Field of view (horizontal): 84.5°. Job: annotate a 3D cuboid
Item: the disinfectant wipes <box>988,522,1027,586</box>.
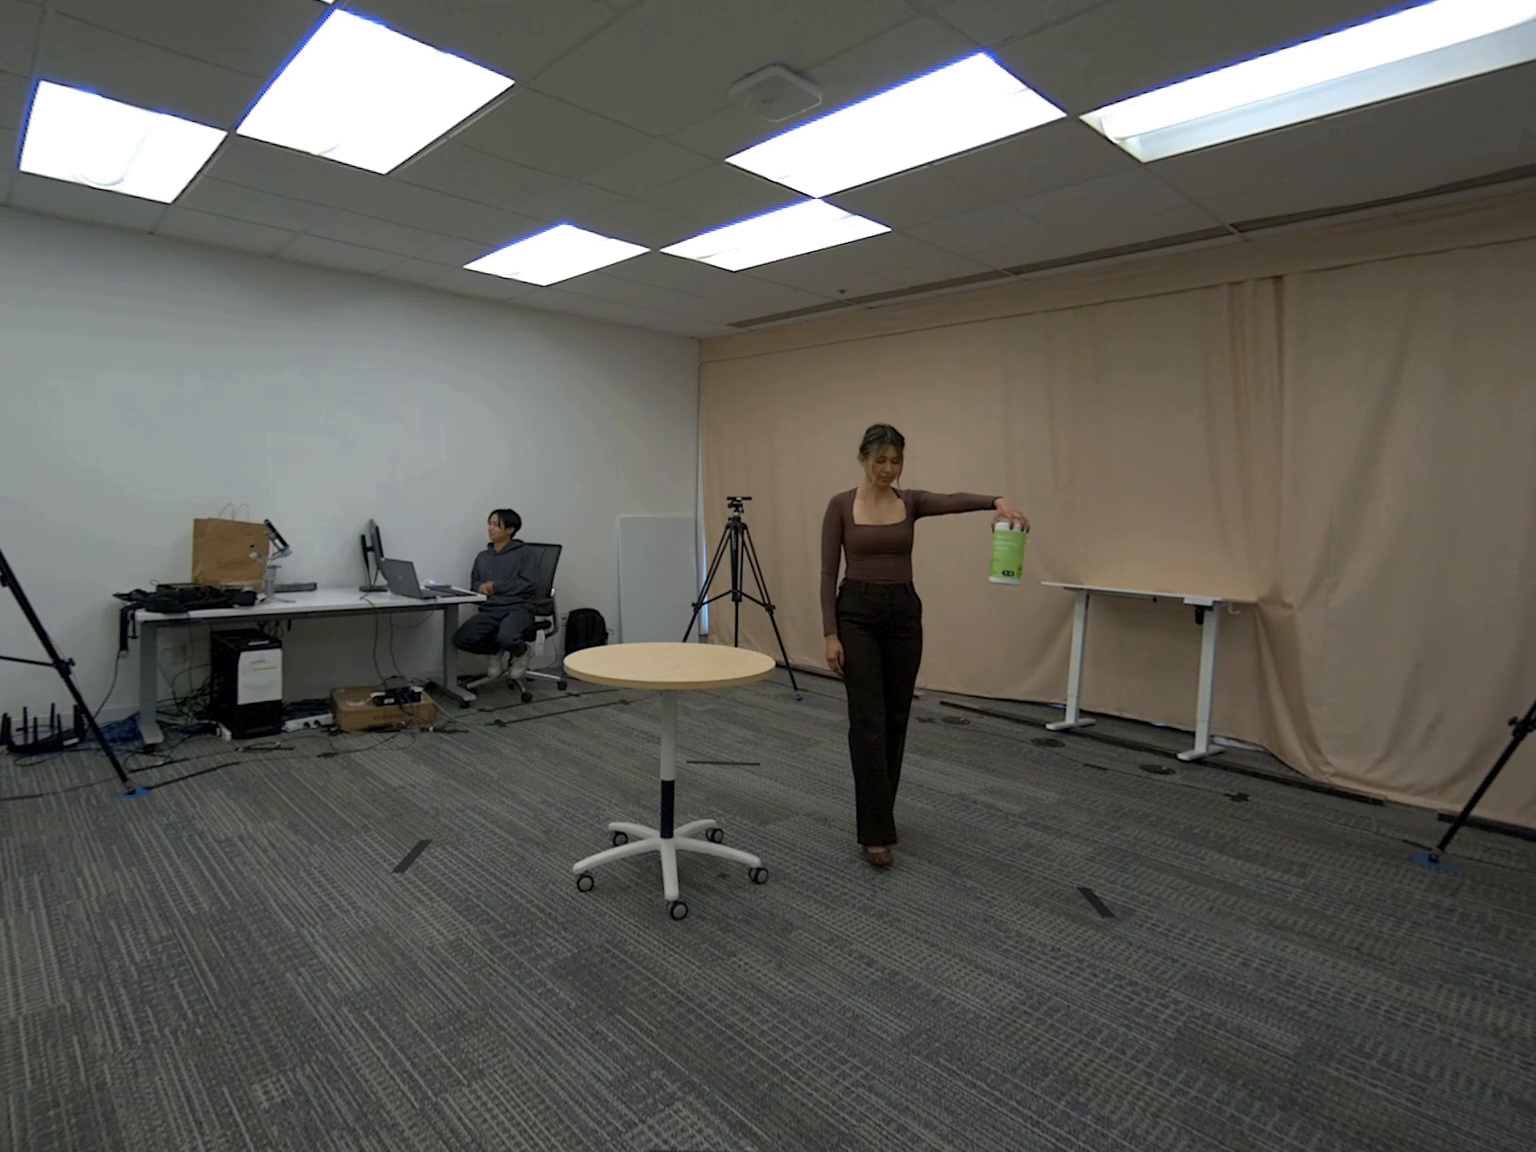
[{"bbox_3d":[0.841,-0.080,2.978,0.118,0.217,0.118,3,2,-1],"label":"disinfectant wipes"}]
